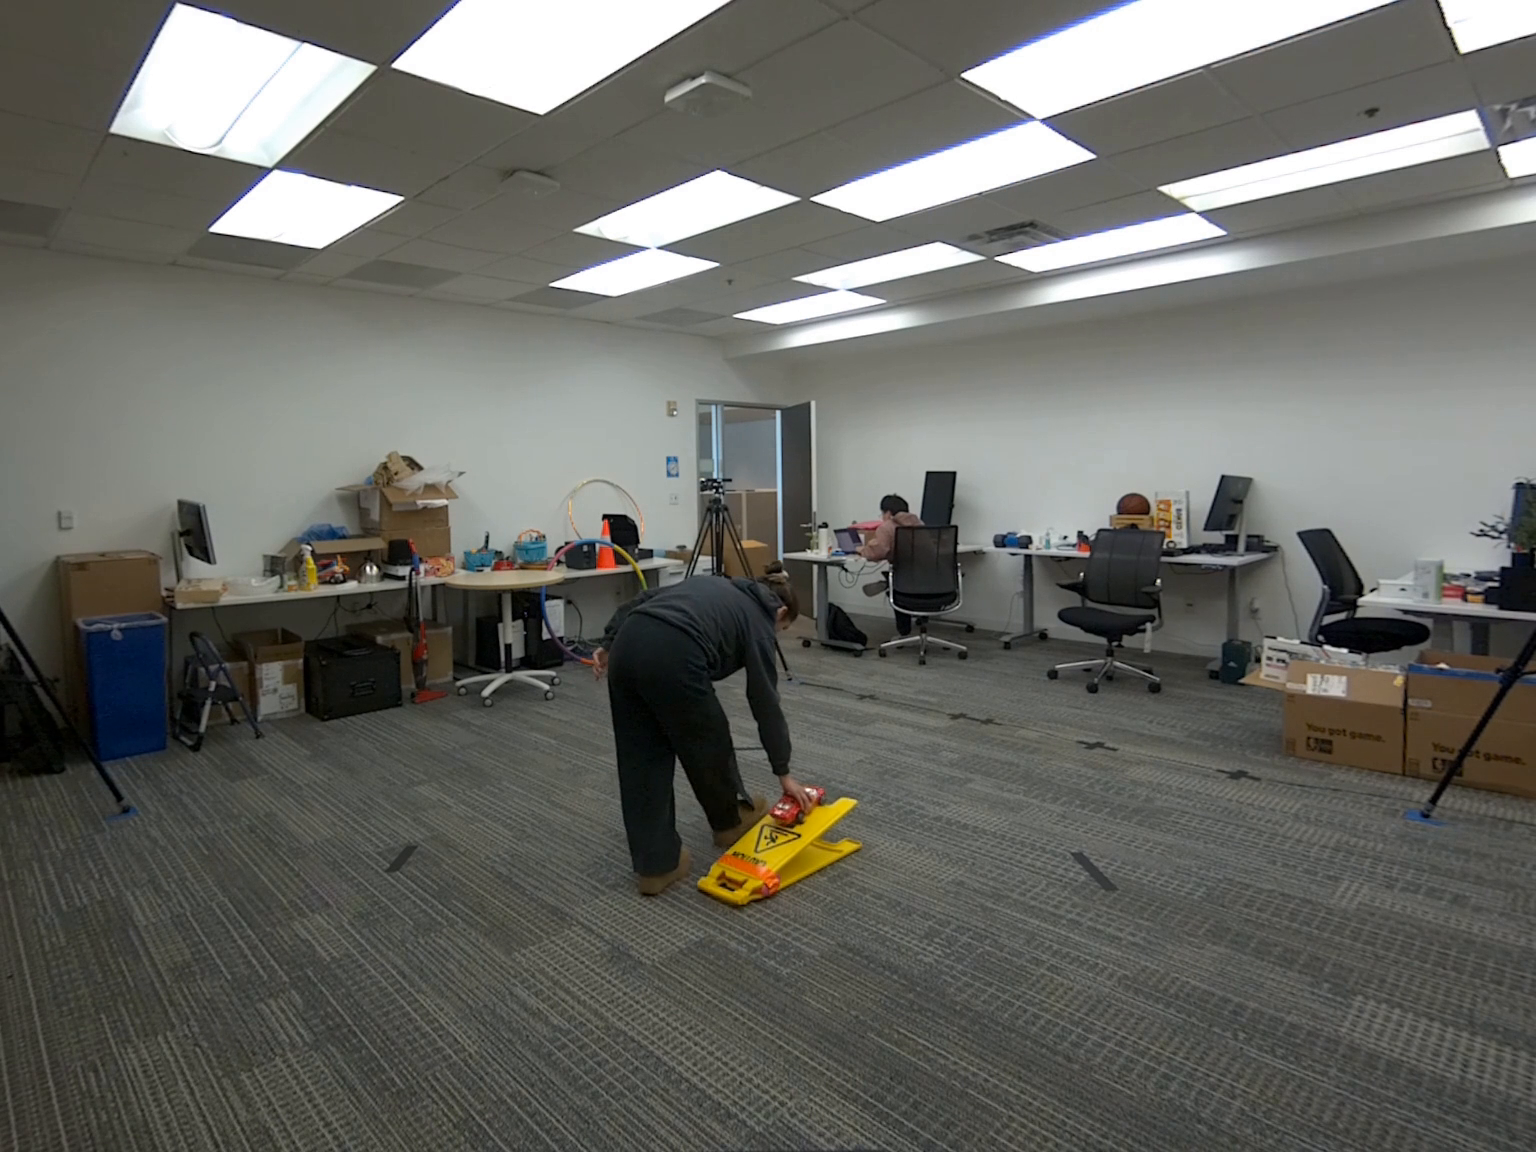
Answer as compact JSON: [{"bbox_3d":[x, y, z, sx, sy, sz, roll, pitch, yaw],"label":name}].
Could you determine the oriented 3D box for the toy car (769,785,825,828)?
[{"bbox_3d":[0.103,0.855,3.154,0.134,0.083,0.248,4,9,44],"label":"toy car"}]
